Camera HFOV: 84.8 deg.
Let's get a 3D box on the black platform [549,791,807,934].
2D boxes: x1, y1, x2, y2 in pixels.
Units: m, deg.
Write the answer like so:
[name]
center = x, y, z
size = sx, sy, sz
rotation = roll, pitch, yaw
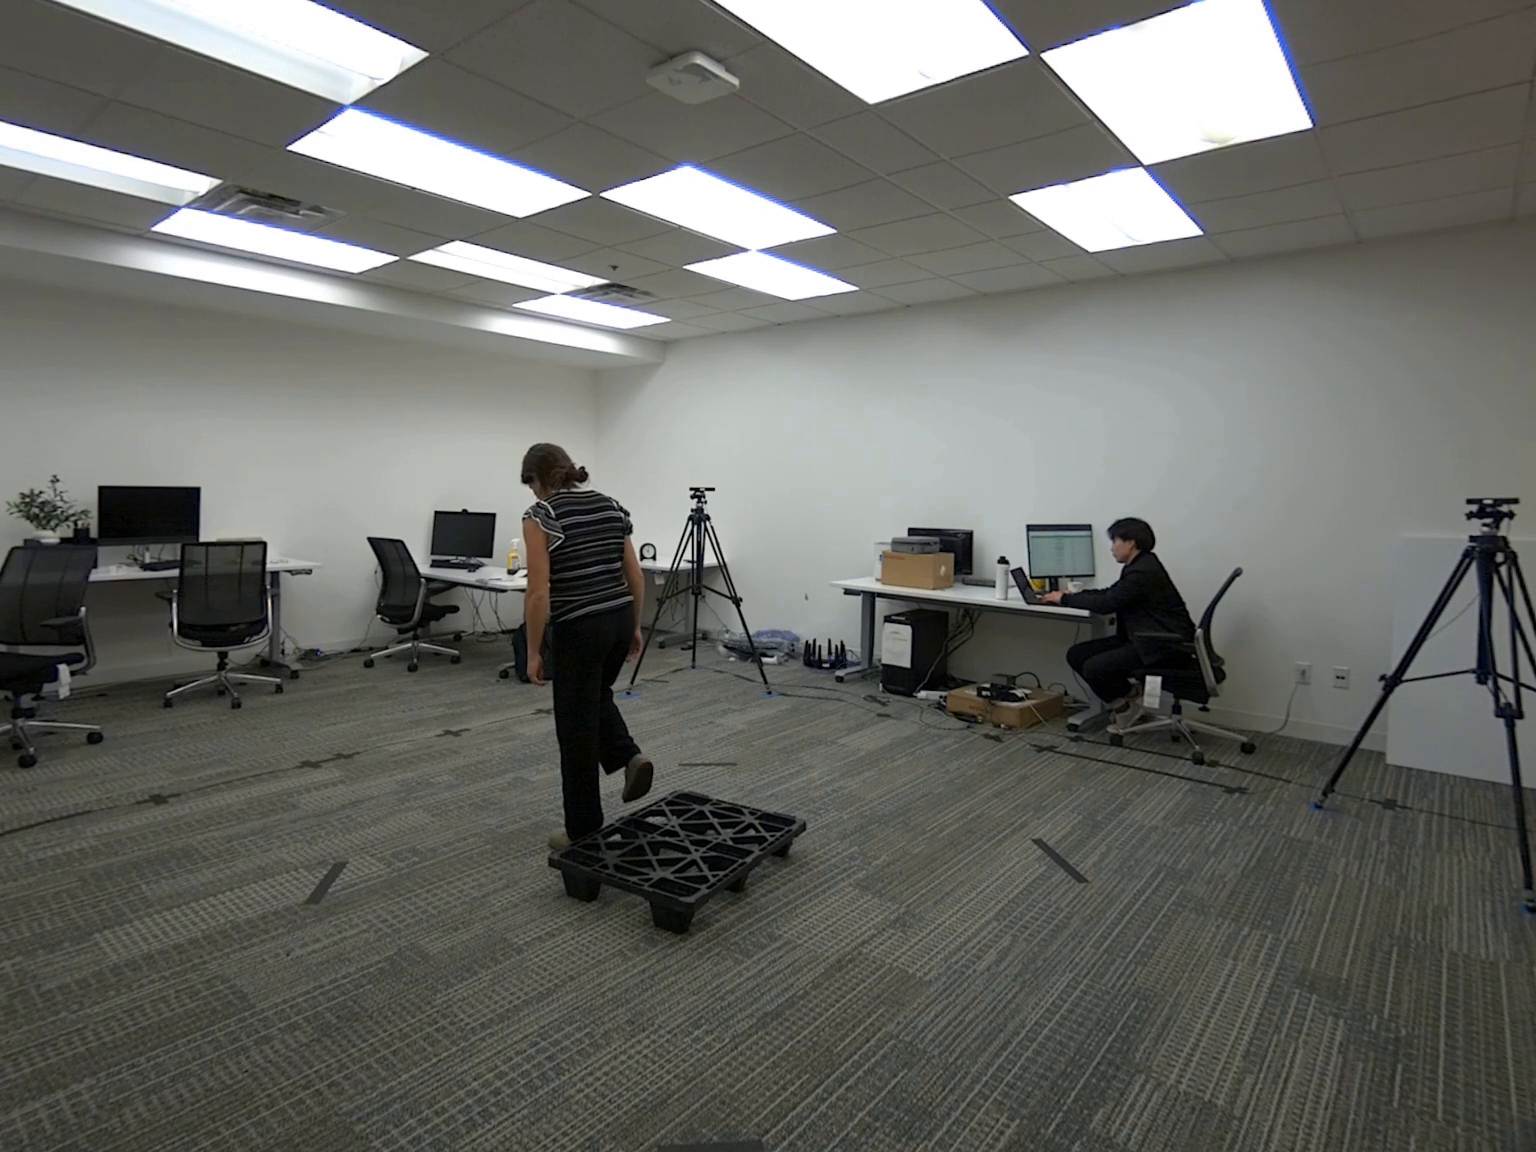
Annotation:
[black platform]
center = -0.315, 1.002, 3.063
size = 0.623, 0.143, 0.785
rotation = 3, 6, 30
